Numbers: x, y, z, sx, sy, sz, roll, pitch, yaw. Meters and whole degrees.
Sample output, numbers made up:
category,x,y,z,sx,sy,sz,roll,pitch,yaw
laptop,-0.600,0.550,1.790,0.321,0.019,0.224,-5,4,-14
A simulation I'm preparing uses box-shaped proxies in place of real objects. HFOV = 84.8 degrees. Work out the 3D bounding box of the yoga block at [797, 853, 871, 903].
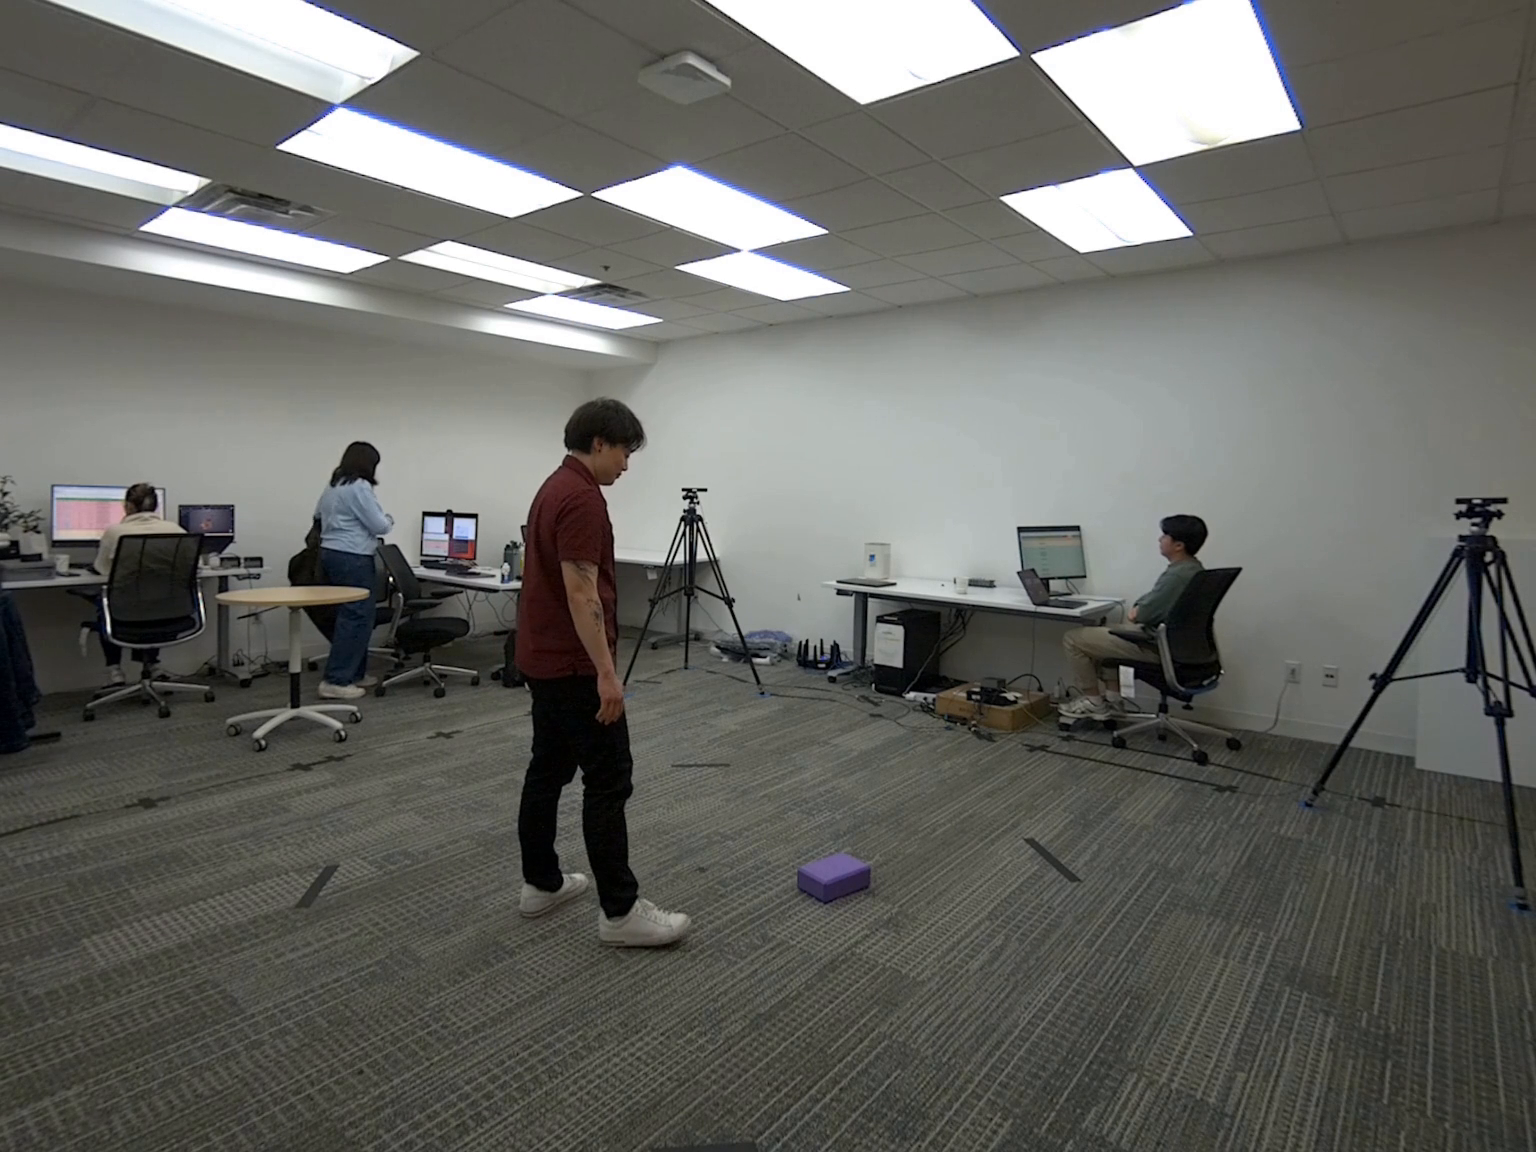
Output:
category,x,y,z,sx,sy,sz,roll,pitch,yaw
yoga block,0.226,1.051,2.985,0.222,0.076,0.154,-3,7,-39
